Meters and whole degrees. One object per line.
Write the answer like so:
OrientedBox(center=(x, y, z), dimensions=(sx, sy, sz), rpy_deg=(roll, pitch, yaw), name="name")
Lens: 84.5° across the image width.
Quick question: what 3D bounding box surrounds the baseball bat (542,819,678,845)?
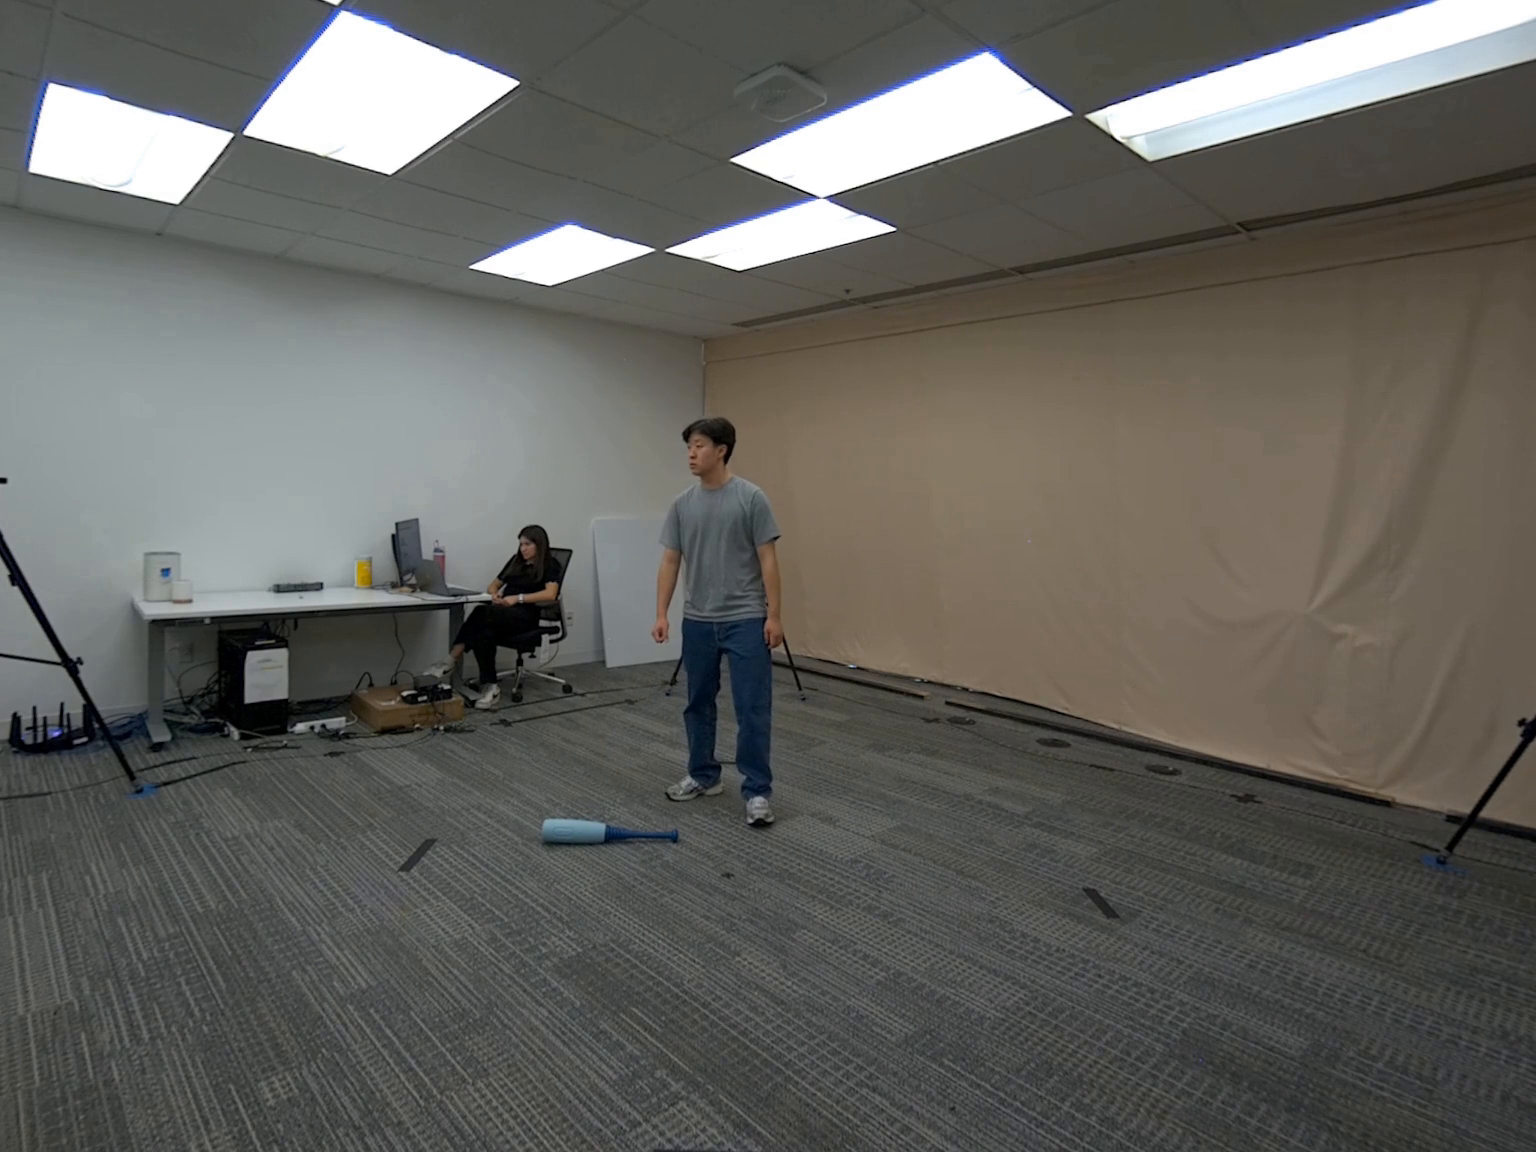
OrientedBox(center=(-0.641, 1.035, 3.373), dimensions=(0.541, 0.089, 0.089), rpy_deg=(5, 4, -4), name="baseball bat")
